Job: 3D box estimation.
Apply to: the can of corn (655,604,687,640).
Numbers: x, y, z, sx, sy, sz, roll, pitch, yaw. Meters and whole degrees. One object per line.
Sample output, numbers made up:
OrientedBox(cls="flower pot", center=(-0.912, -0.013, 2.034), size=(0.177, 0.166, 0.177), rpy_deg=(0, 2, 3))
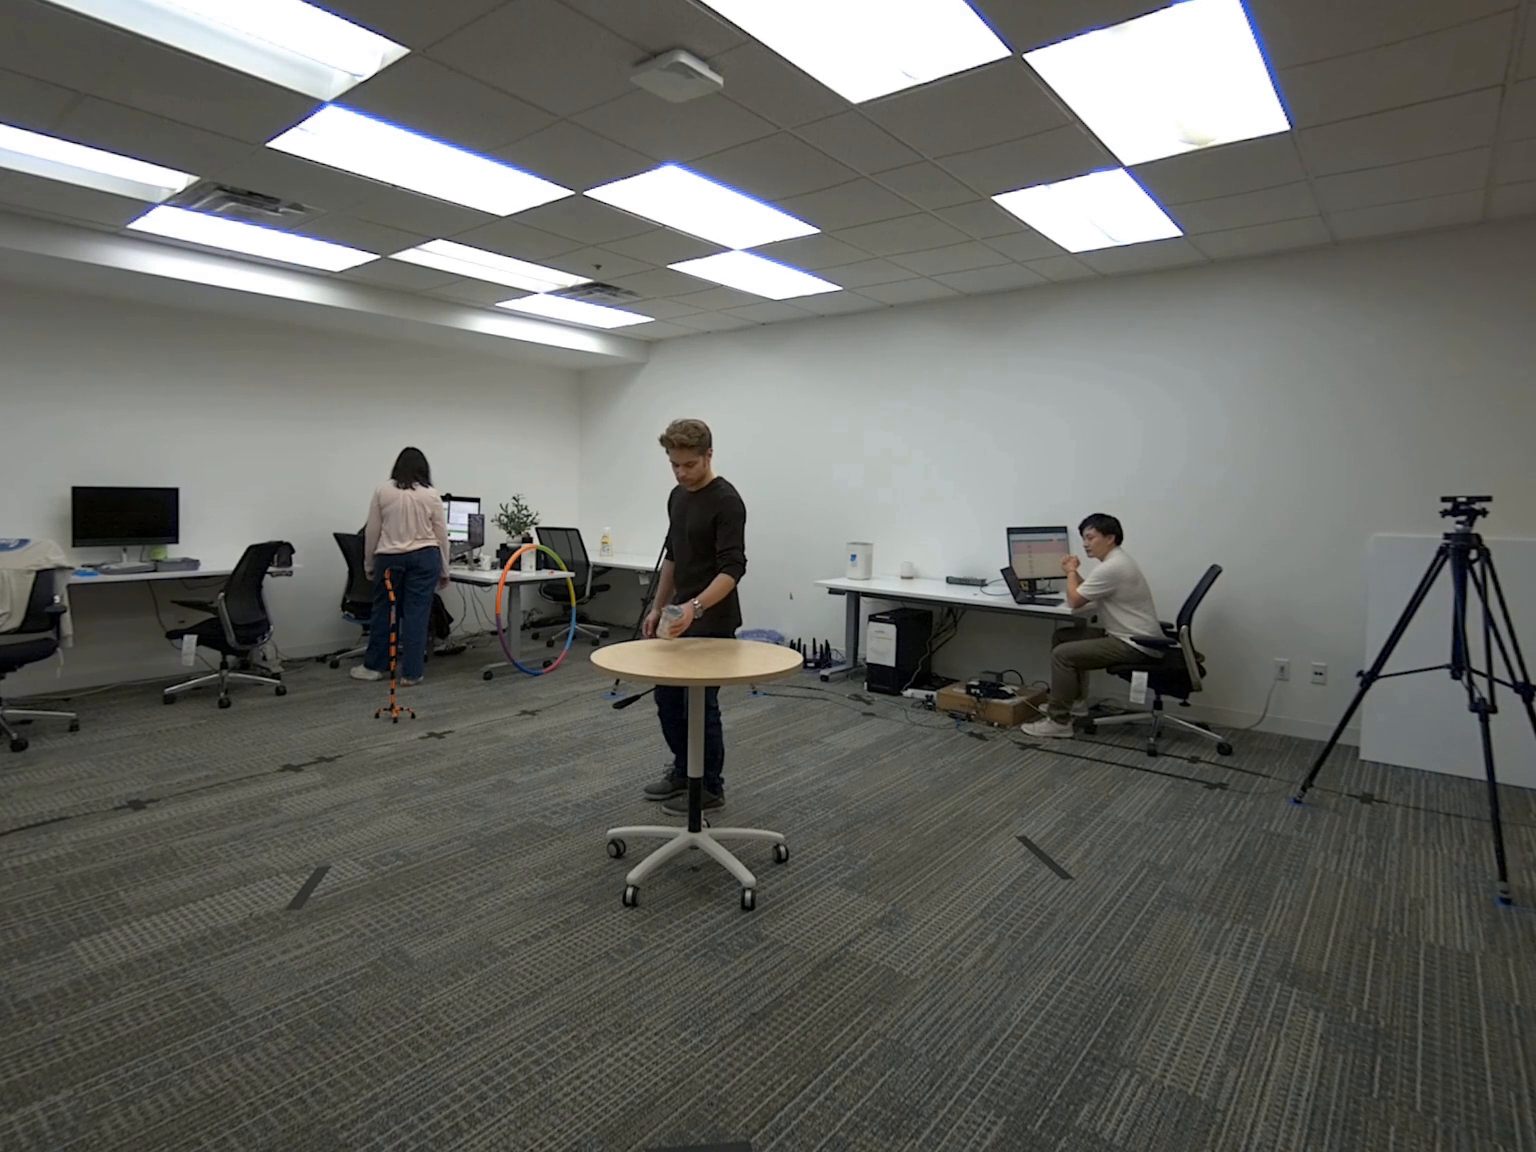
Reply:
OrientedBox(cls="can of corn", center=(-0.384, 0.165, 3.177), size=(0.074, 0.110, 0.075), rpy_deg=(10, 17, -5))
